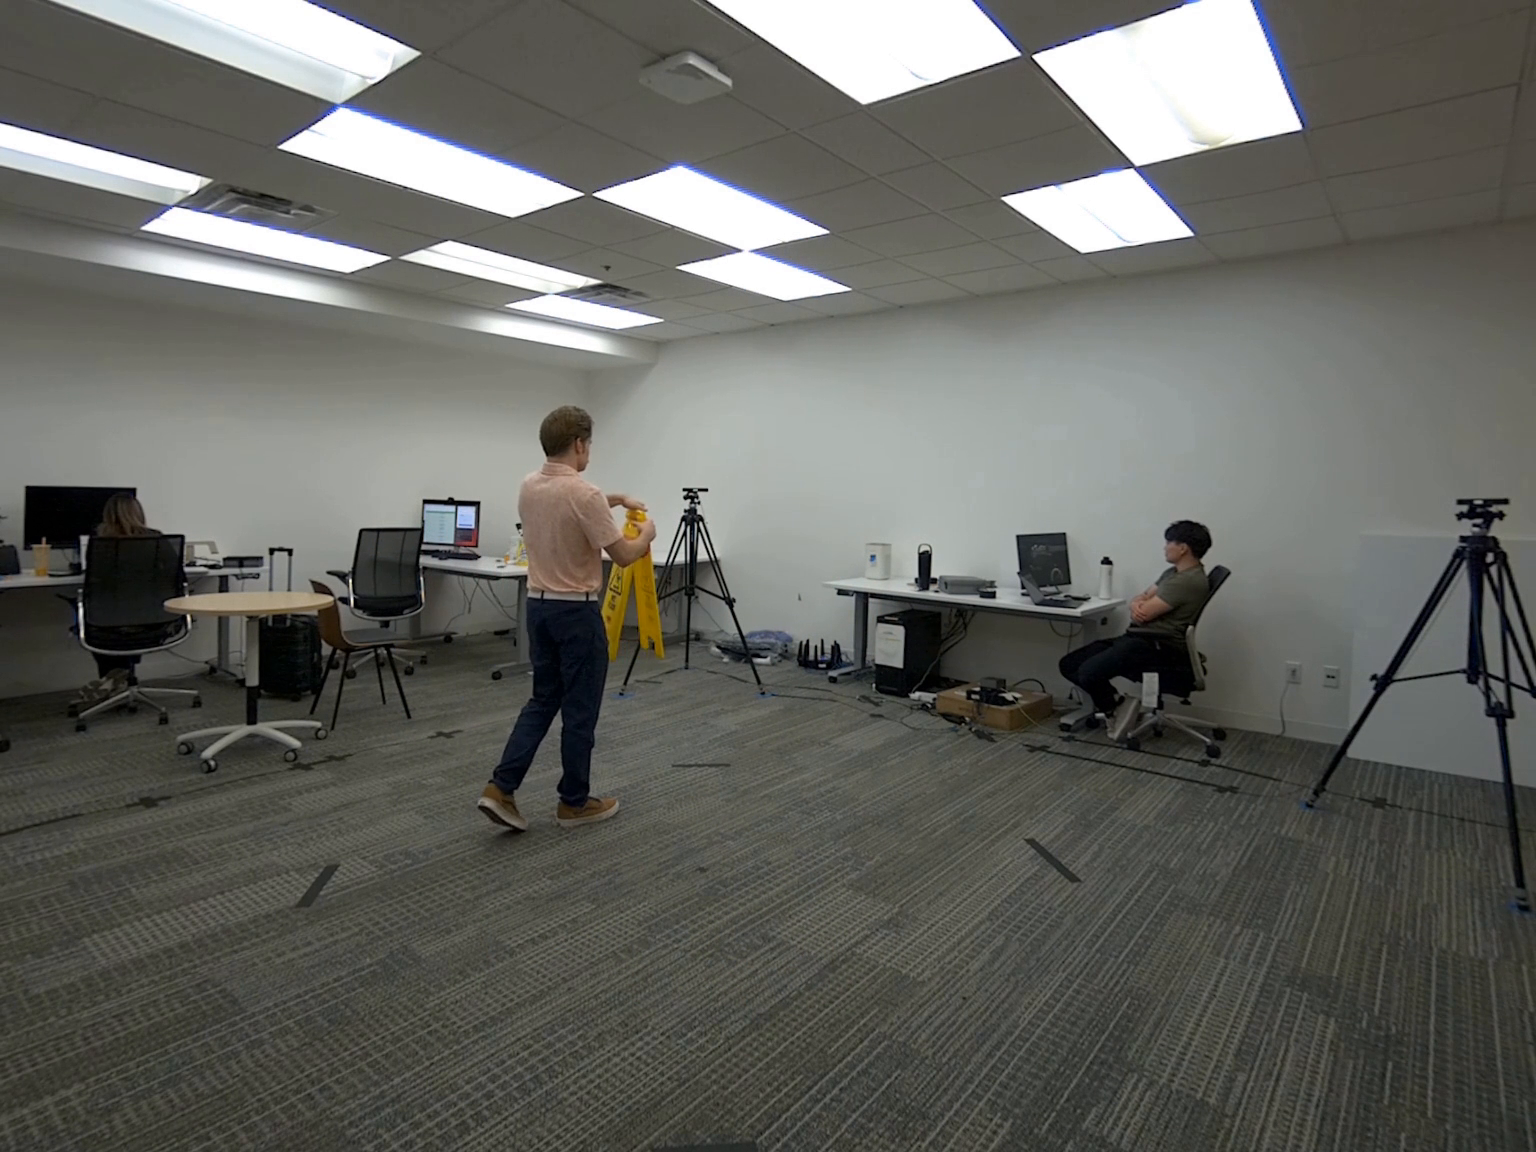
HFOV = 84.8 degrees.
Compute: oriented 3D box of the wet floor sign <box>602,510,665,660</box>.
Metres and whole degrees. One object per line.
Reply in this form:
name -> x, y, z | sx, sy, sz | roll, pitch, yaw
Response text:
wet floor sign -> -0.625, 0.029, 3.807 | 0.282, 0.643, 0.290 | 1, 5, -26
